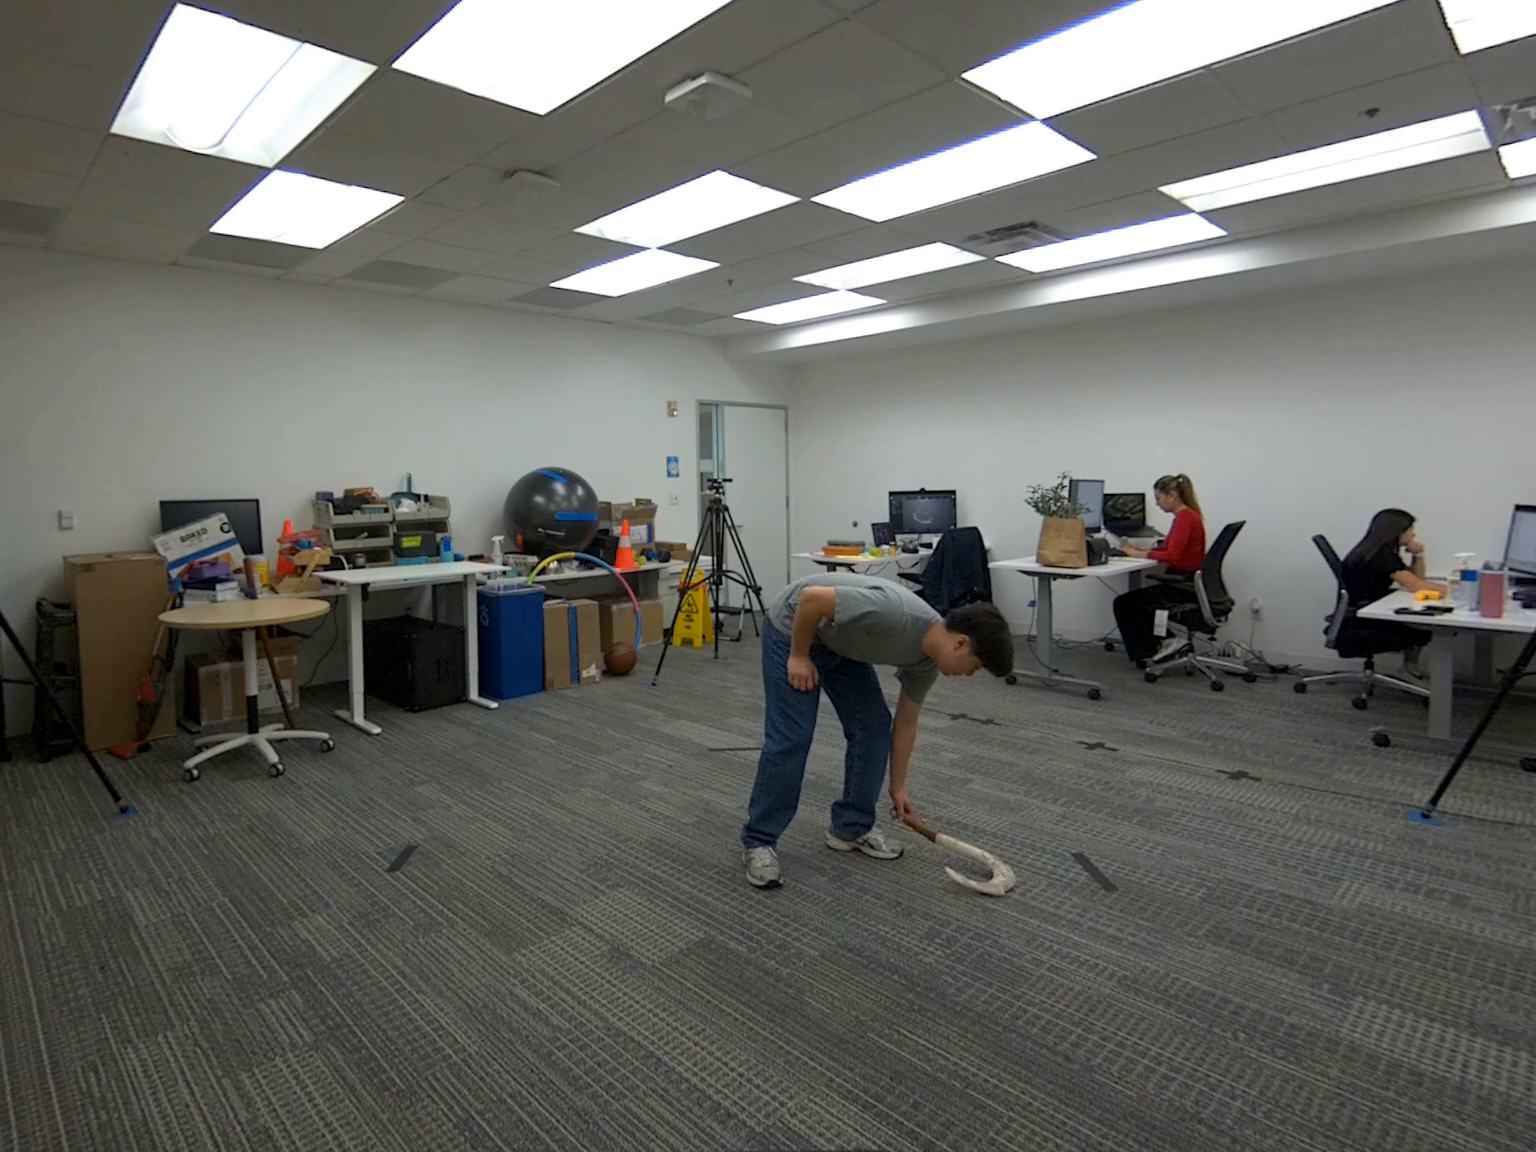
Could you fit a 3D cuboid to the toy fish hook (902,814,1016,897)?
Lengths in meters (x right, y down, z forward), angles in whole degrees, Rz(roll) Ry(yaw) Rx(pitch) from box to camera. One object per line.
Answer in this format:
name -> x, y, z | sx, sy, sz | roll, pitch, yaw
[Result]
toy fish hook -> 0.621, 0.961, 3.031 | 0.525, 0.048, 0.218 | 21, 18, 40
